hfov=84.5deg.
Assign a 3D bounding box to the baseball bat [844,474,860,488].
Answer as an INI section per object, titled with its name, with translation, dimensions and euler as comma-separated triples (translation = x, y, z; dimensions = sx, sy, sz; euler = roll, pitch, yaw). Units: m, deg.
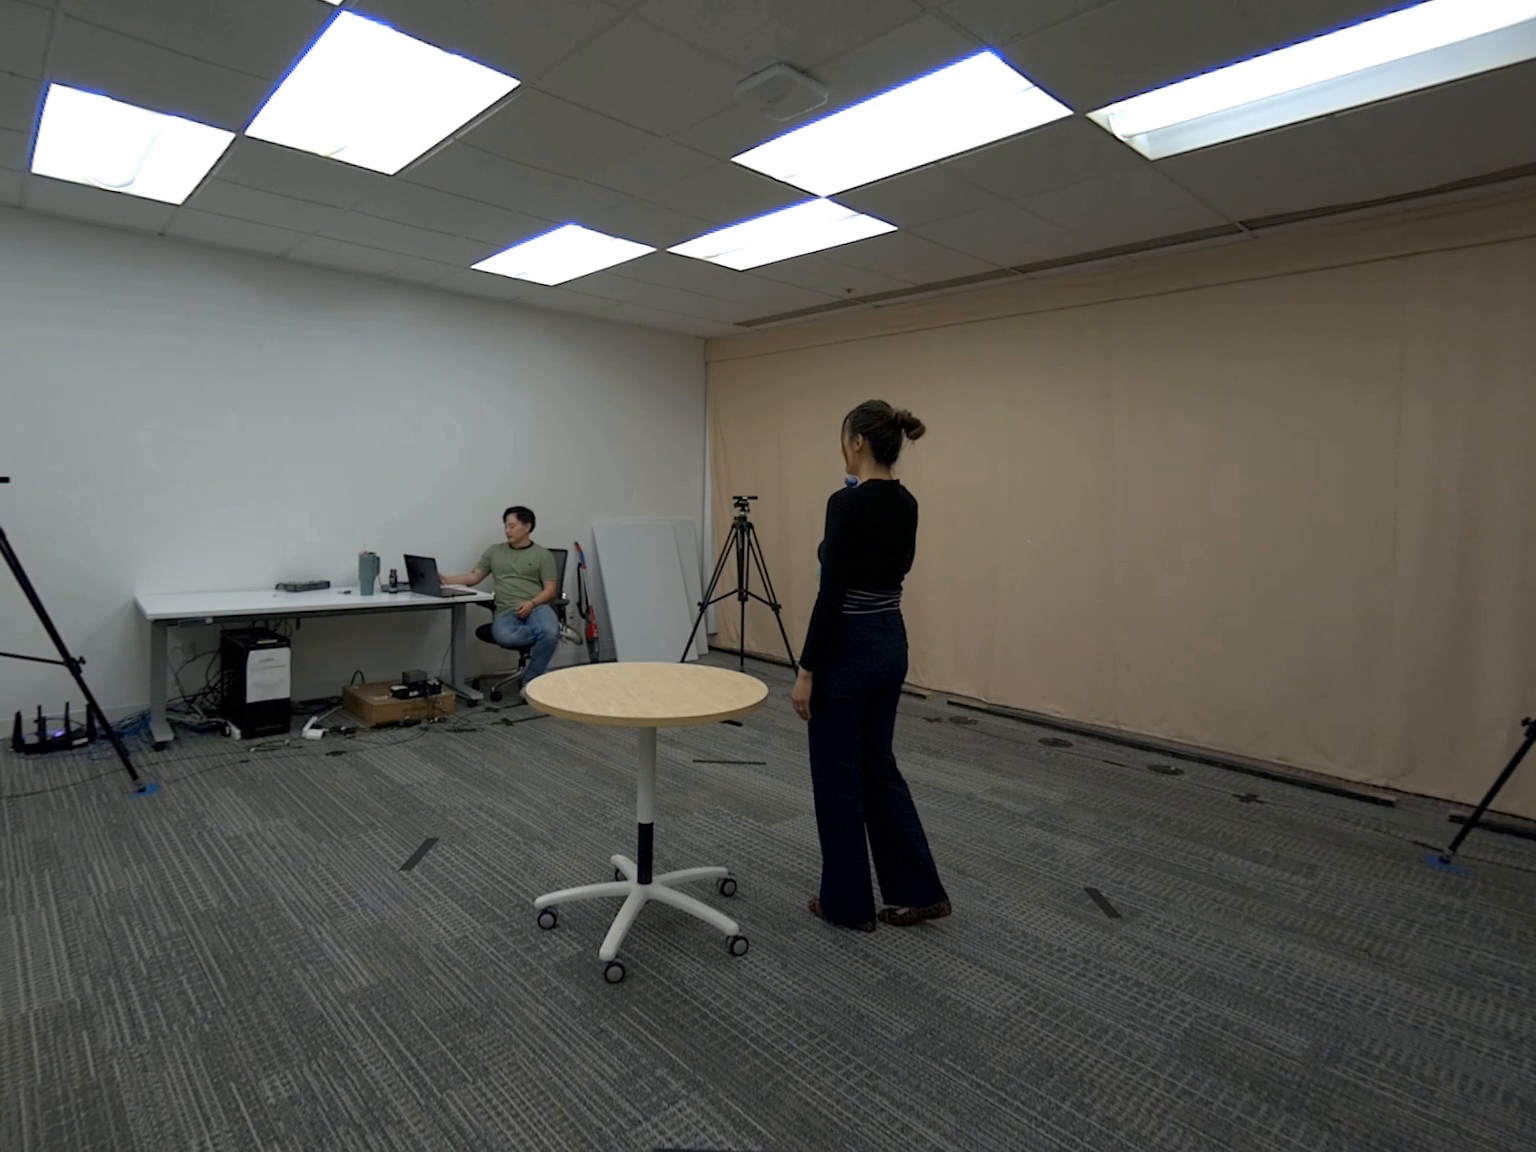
[baseball bat]
translation = 0.272, -0.168, 3.335
dimensions = 0.089, 0.533, 0.091
euler = 4, 44, -5
